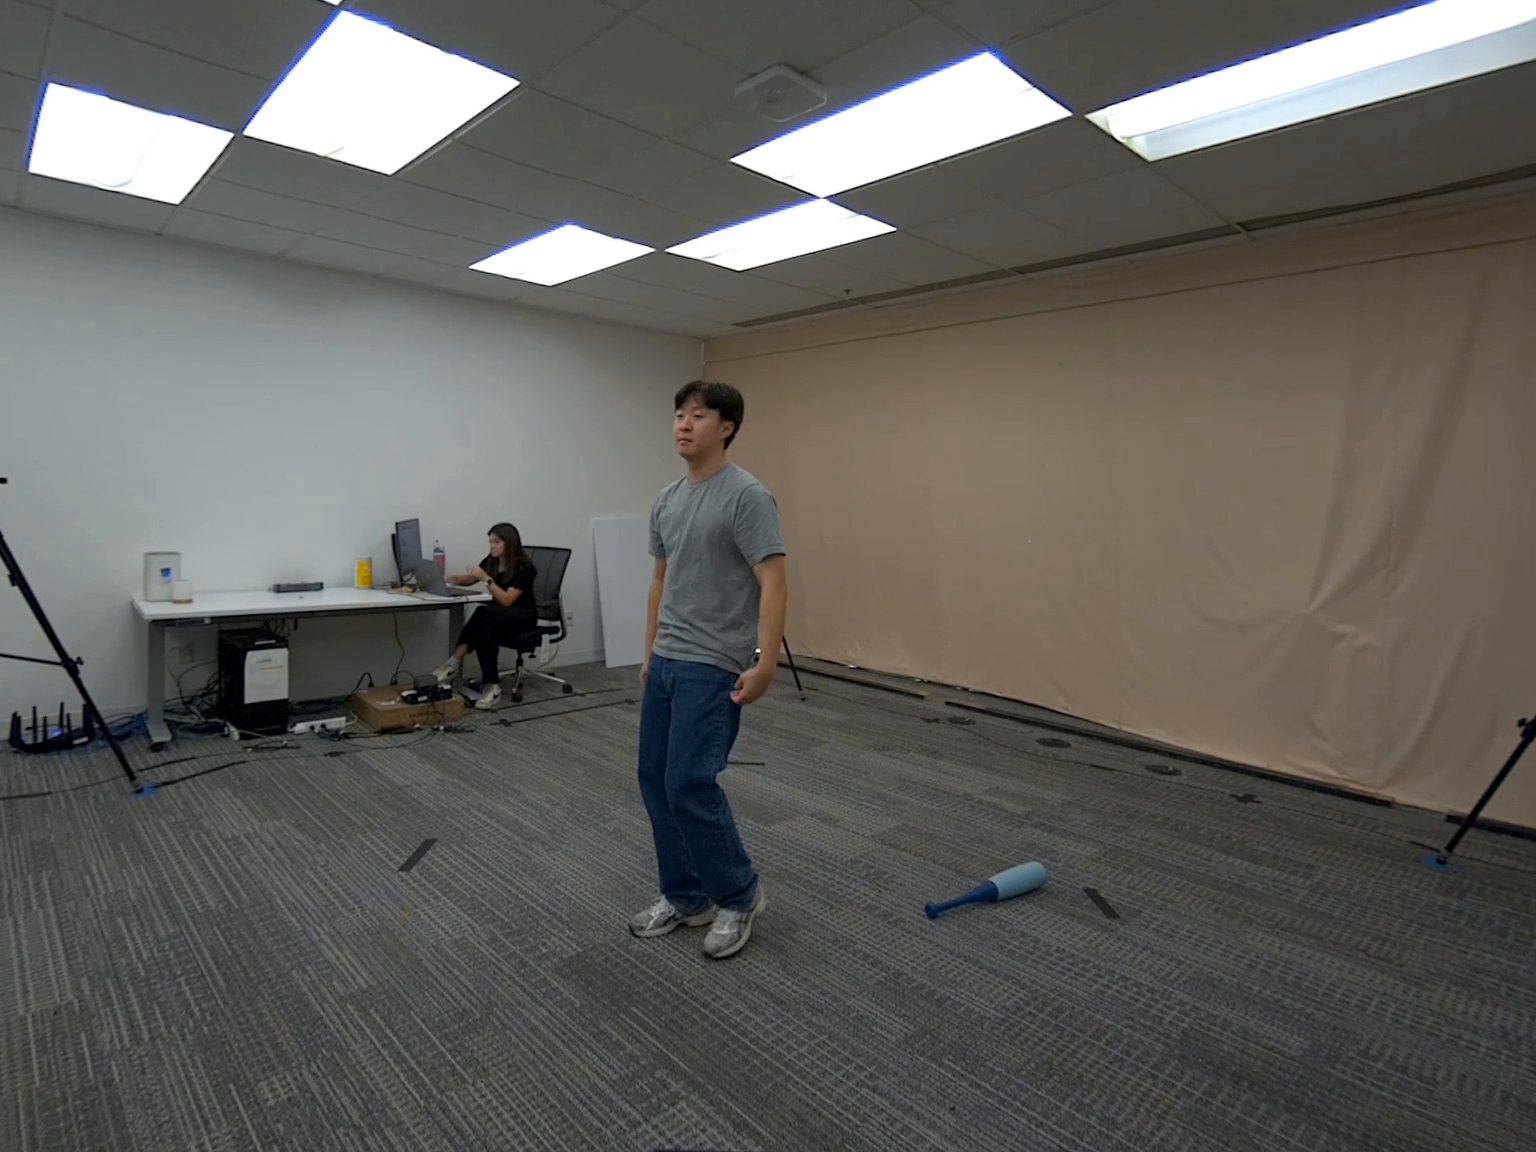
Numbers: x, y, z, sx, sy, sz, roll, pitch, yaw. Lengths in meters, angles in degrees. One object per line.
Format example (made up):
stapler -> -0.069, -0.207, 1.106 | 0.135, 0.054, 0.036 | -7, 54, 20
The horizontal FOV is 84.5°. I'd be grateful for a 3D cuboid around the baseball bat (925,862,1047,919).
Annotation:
baseball bat -> 0.764, 1.111, 2.946 | 0.533, 0.088, 0.091 | -6, 7, -30
